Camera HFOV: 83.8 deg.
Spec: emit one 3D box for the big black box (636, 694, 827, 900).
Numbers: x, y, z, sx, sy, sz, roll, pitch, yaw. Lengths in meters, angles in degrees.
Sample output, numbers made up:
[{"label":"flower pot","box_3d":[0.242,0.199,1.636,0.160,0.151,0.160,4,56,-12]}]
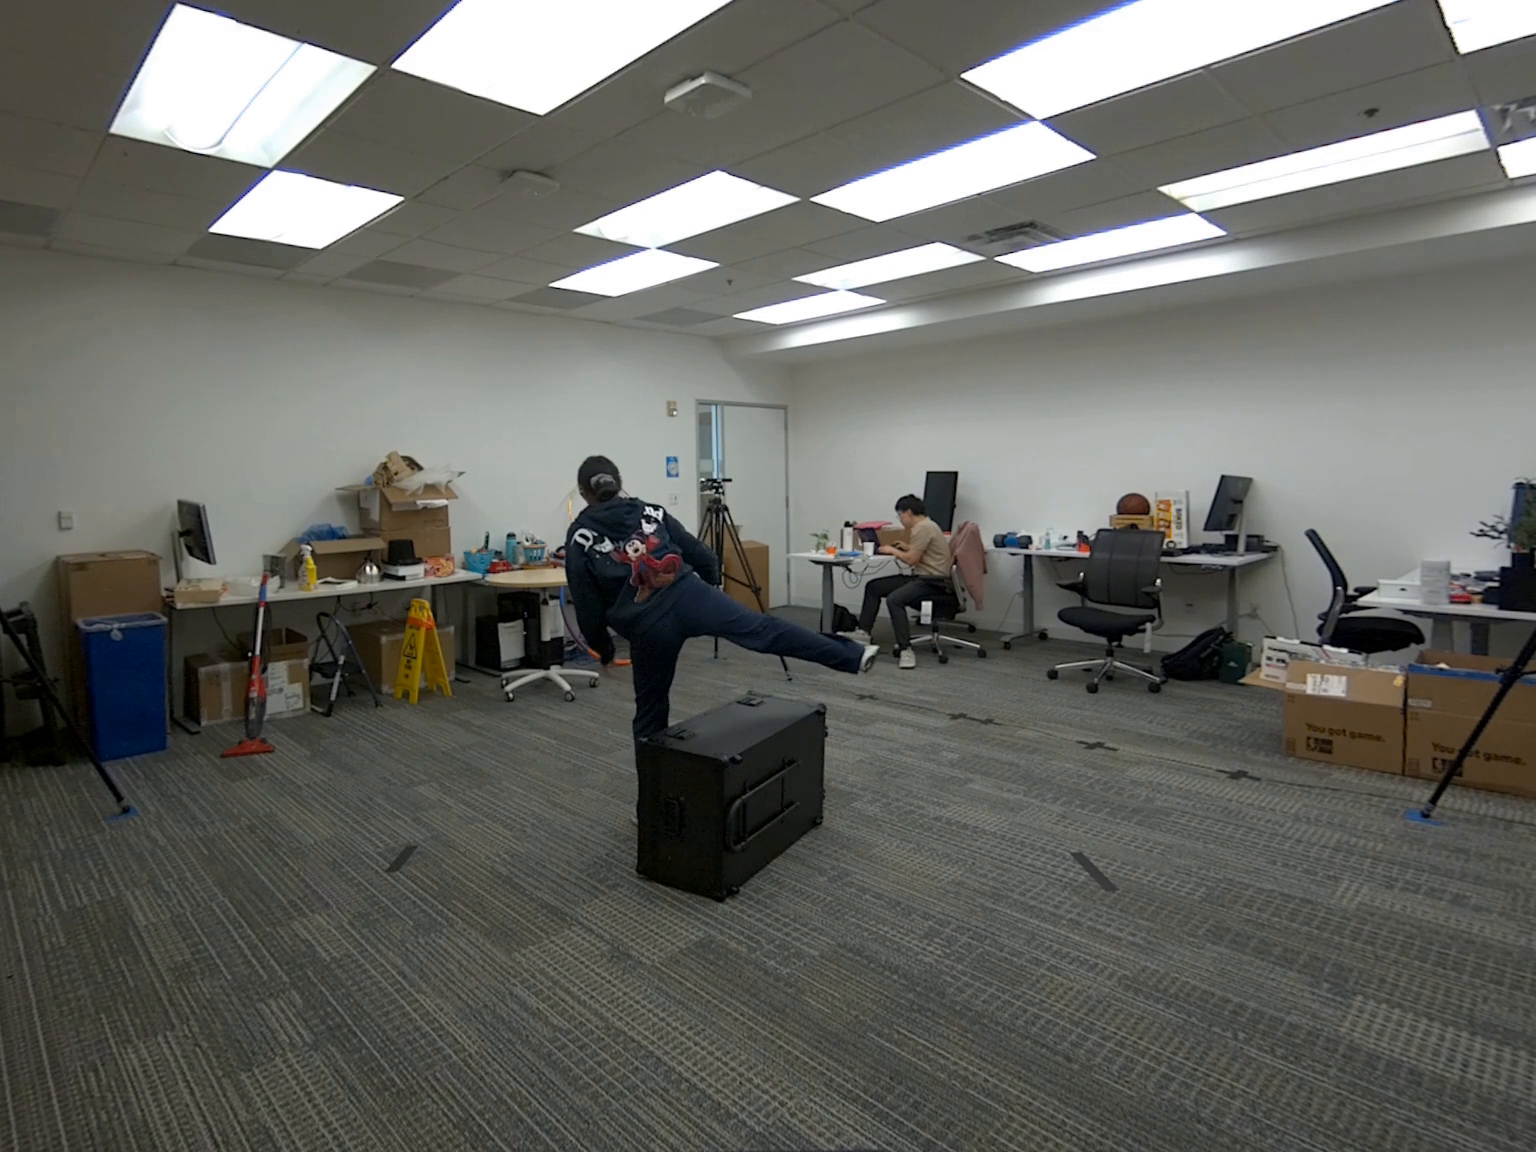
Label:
[{"label":"big black box","box_3d":[-0.086,0.775,3.236,0.407,0.518,0.843,4,8,29]}]
